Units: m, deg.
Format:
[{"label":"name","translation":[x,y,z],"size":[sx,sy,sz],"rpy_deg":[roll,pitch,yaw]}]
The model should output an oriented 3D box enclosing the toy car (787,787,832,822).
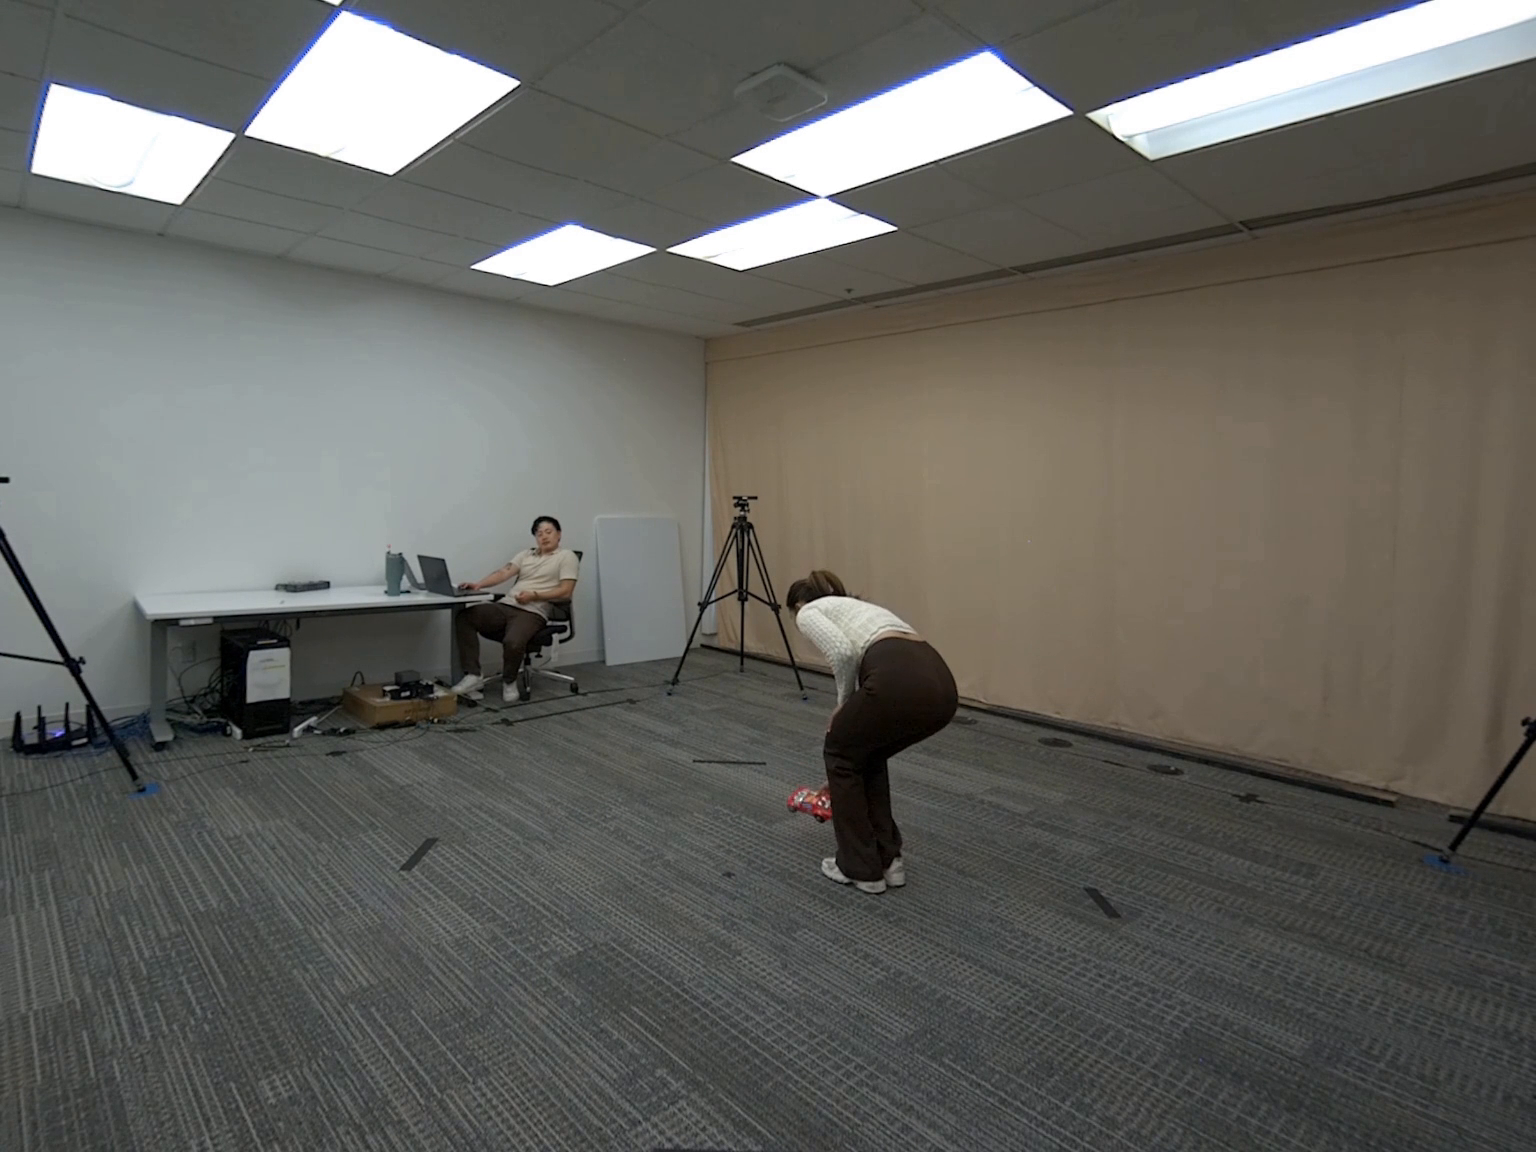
[{"label":"toy car","translation":[0.181,0.925,3.439],"size":[0.259,0.082,0.130],"rpy_deg":[-8,25,49]}]
